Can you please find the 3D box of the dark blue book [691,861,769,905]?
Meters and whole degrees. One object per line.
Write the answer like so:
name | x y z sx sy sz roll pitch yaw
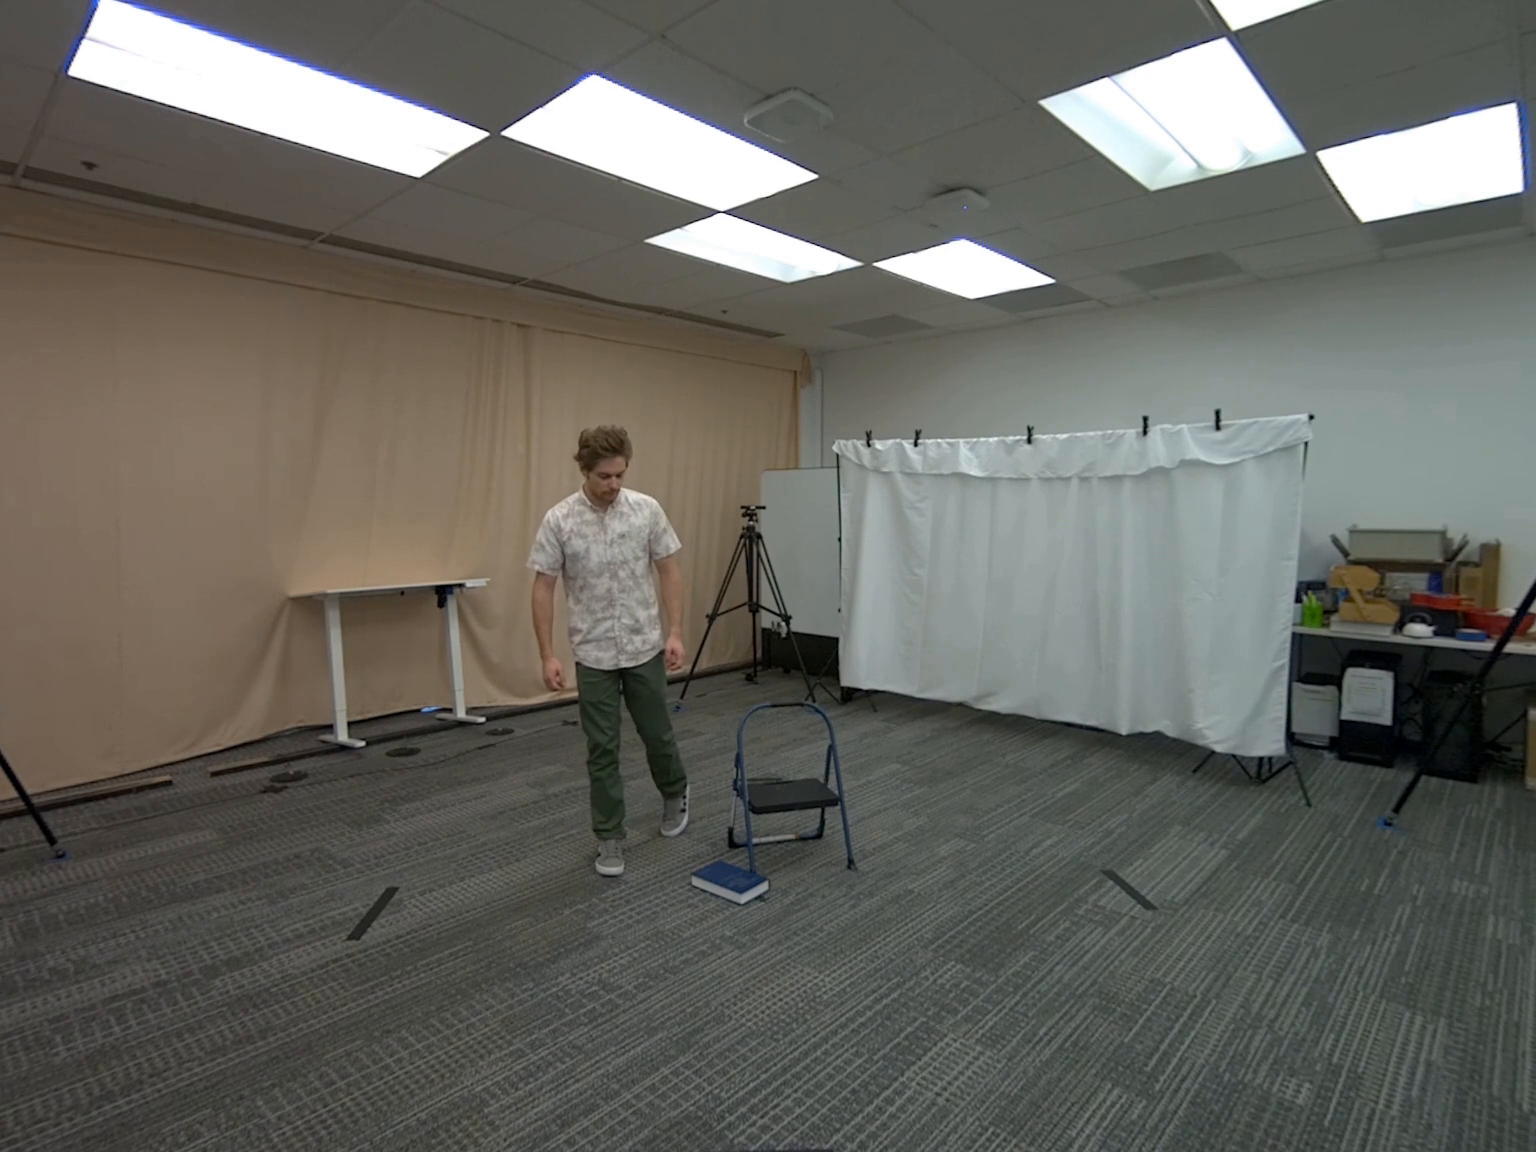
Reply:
dark blue book | -0.137 1.110 3.069 0.253 0.045 0.158 4 7 40
